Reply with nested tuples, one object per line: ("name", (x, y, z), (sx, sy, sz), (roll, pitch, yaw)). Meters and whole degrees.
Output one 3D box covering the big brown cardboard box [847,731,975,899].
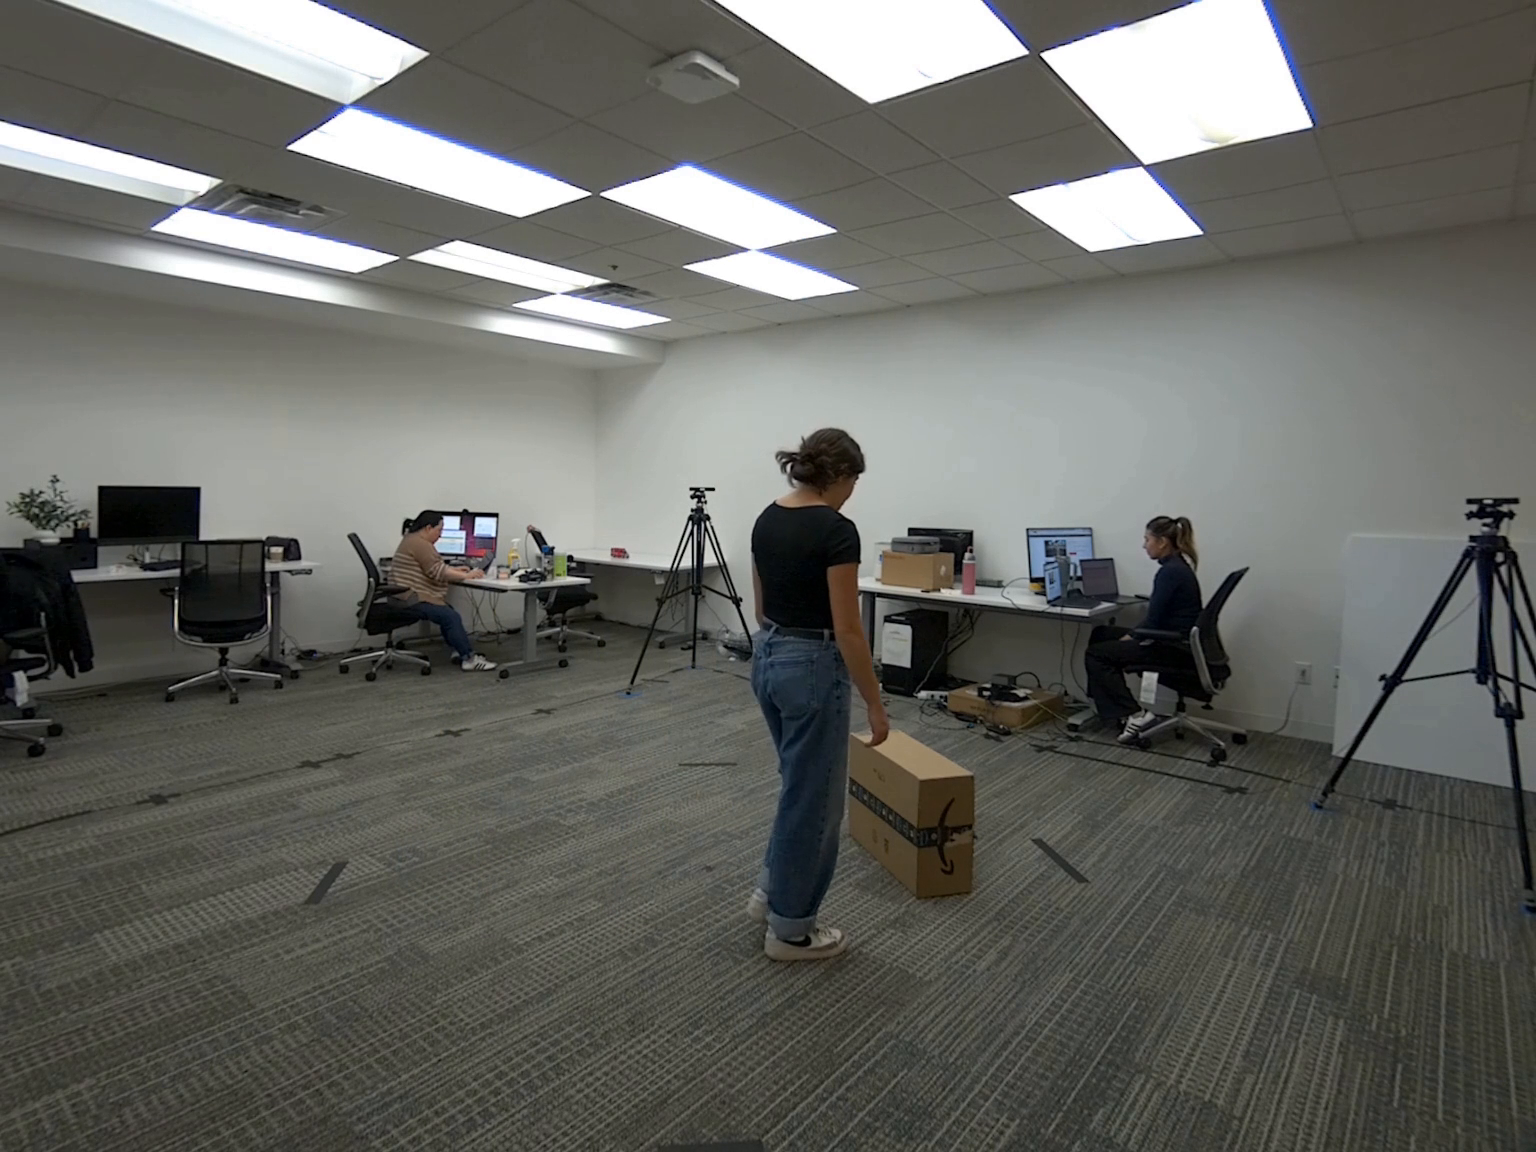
("big brown cardboard box", (0.516, 0.863, 3.207), (0.229, 0.416, 0.602), (-1, 6, -18))
